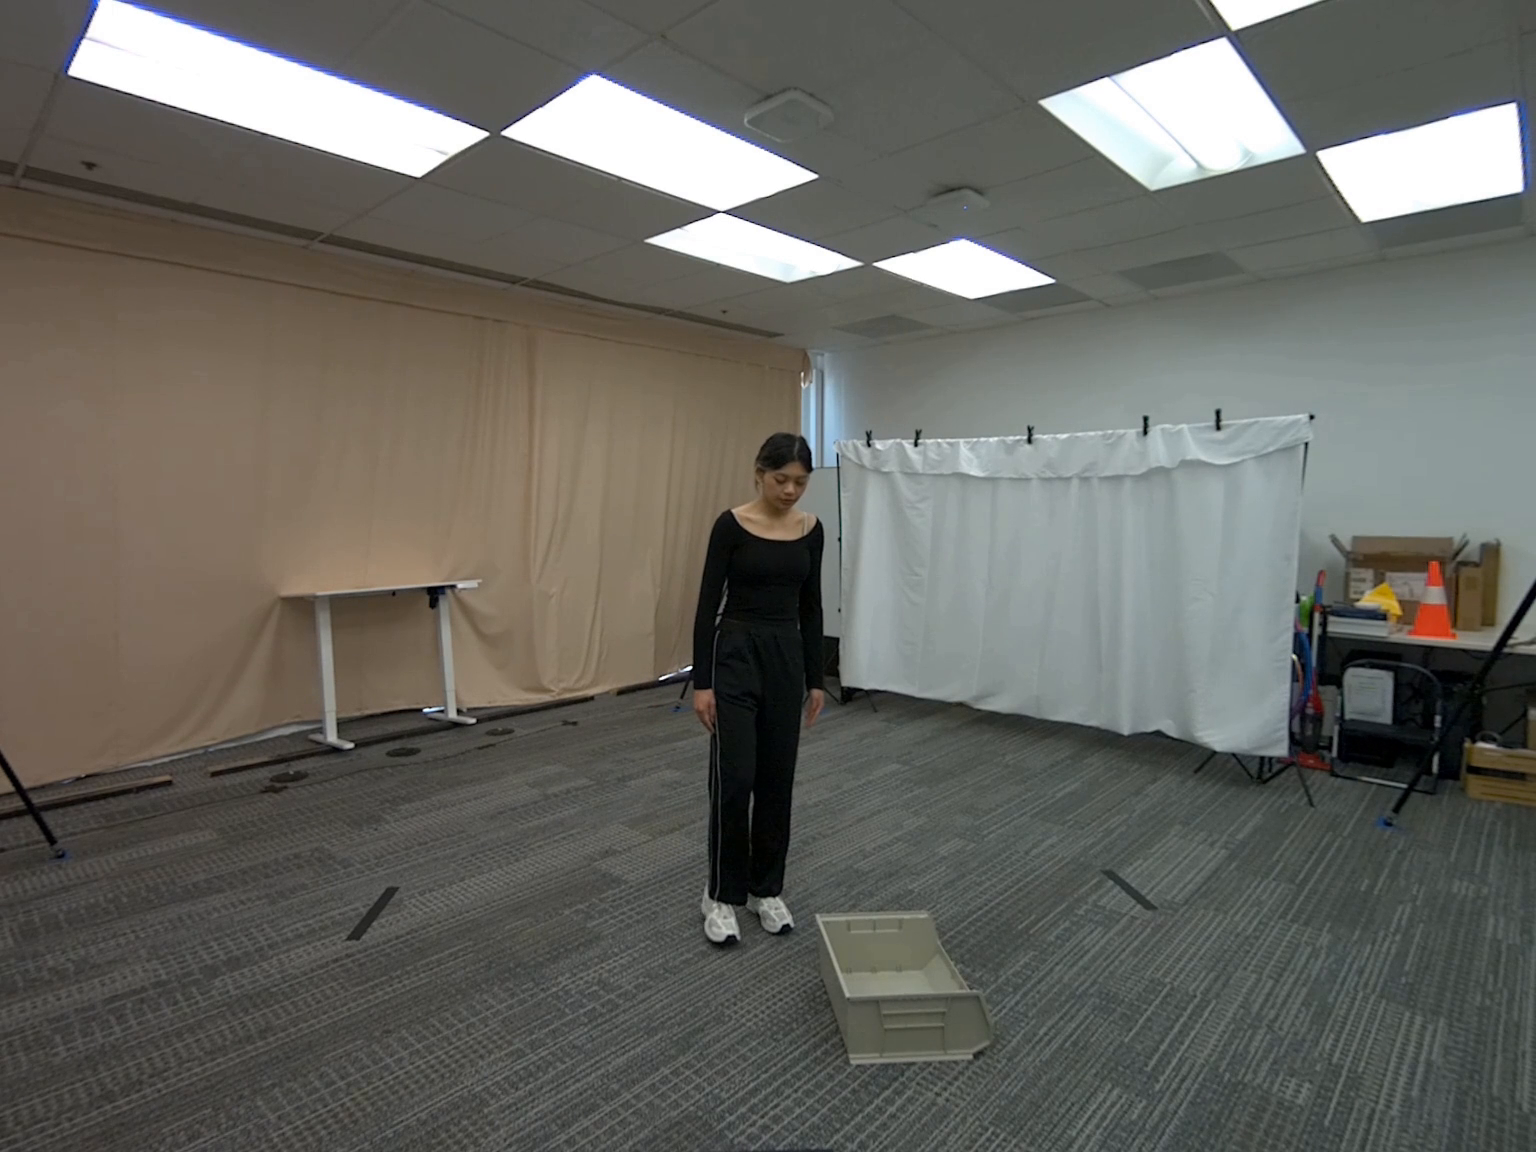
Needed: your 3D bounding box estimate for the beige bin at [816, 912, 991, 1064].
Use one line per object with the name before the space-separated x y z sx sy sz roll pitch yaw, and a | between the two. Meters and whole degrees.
beige bin | 0.362 1.115 2.300 0.375 0.188 0.426 -1 5 -6
